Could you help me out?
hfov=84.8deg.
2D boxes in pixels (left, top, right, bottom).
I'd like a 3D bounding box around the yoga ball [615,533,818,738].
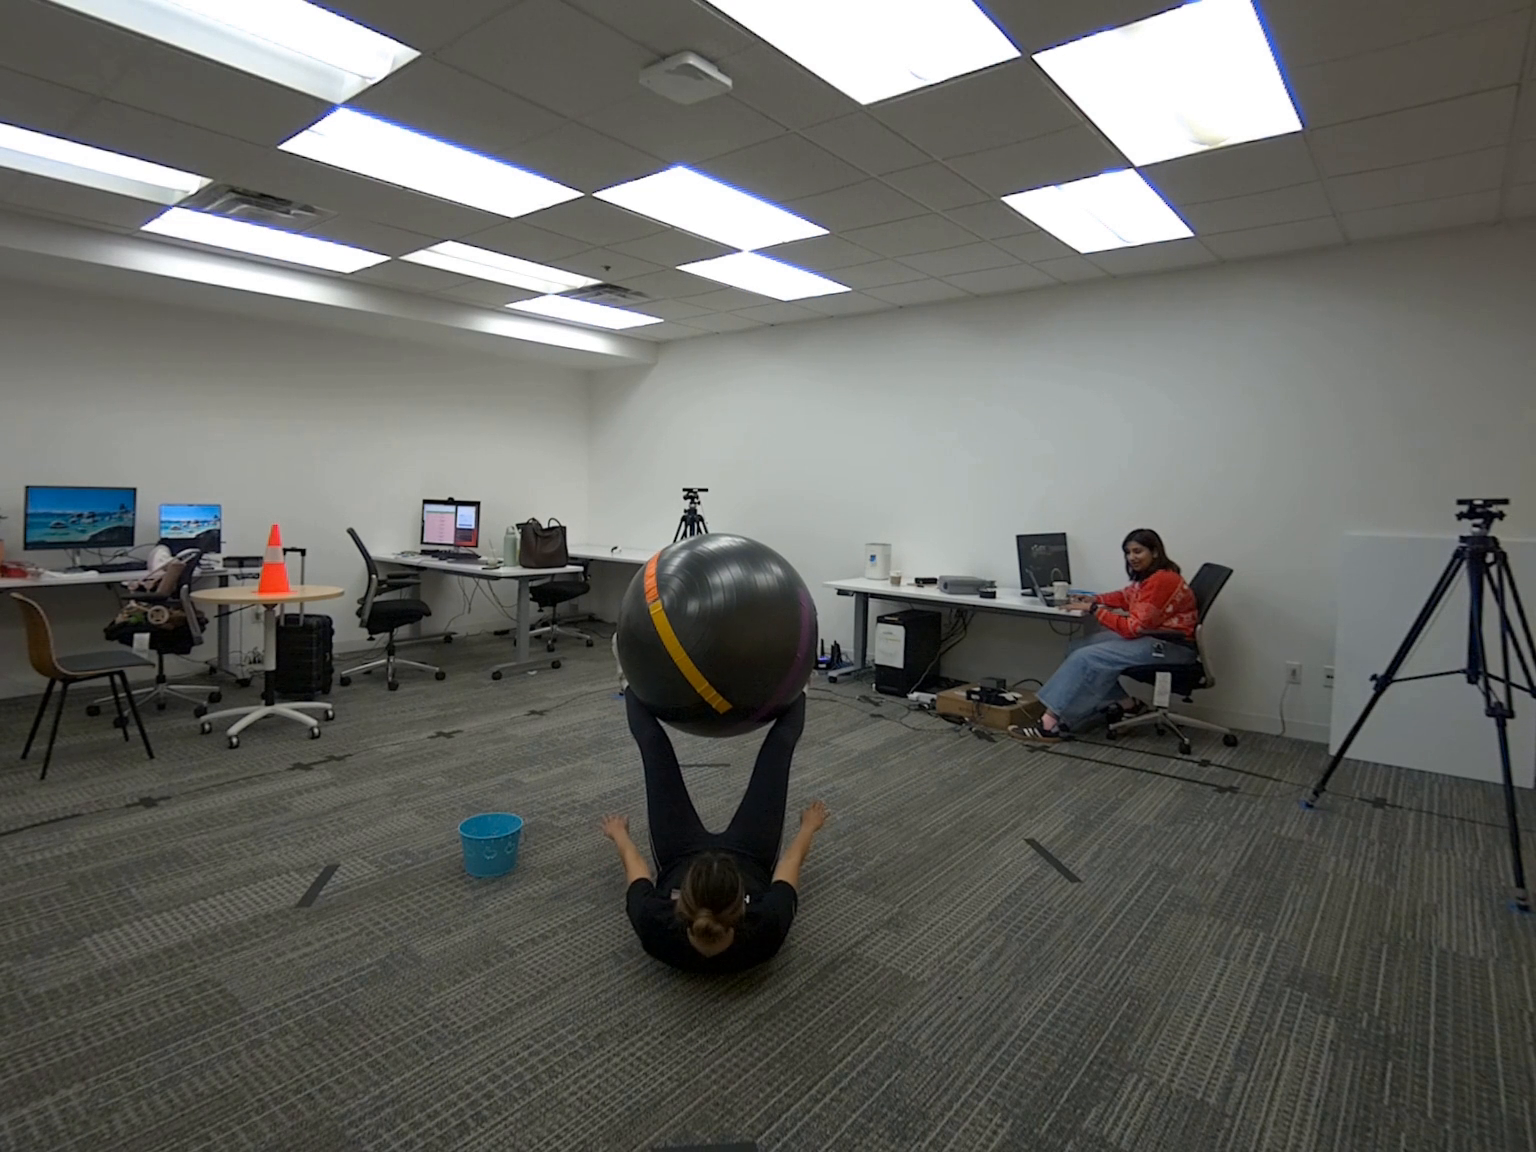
[{"bbox_3d":[-0.192,0.220,3.178,0.757,0.756,0.762,1,4,-2],"label":"yoga ball"}]
